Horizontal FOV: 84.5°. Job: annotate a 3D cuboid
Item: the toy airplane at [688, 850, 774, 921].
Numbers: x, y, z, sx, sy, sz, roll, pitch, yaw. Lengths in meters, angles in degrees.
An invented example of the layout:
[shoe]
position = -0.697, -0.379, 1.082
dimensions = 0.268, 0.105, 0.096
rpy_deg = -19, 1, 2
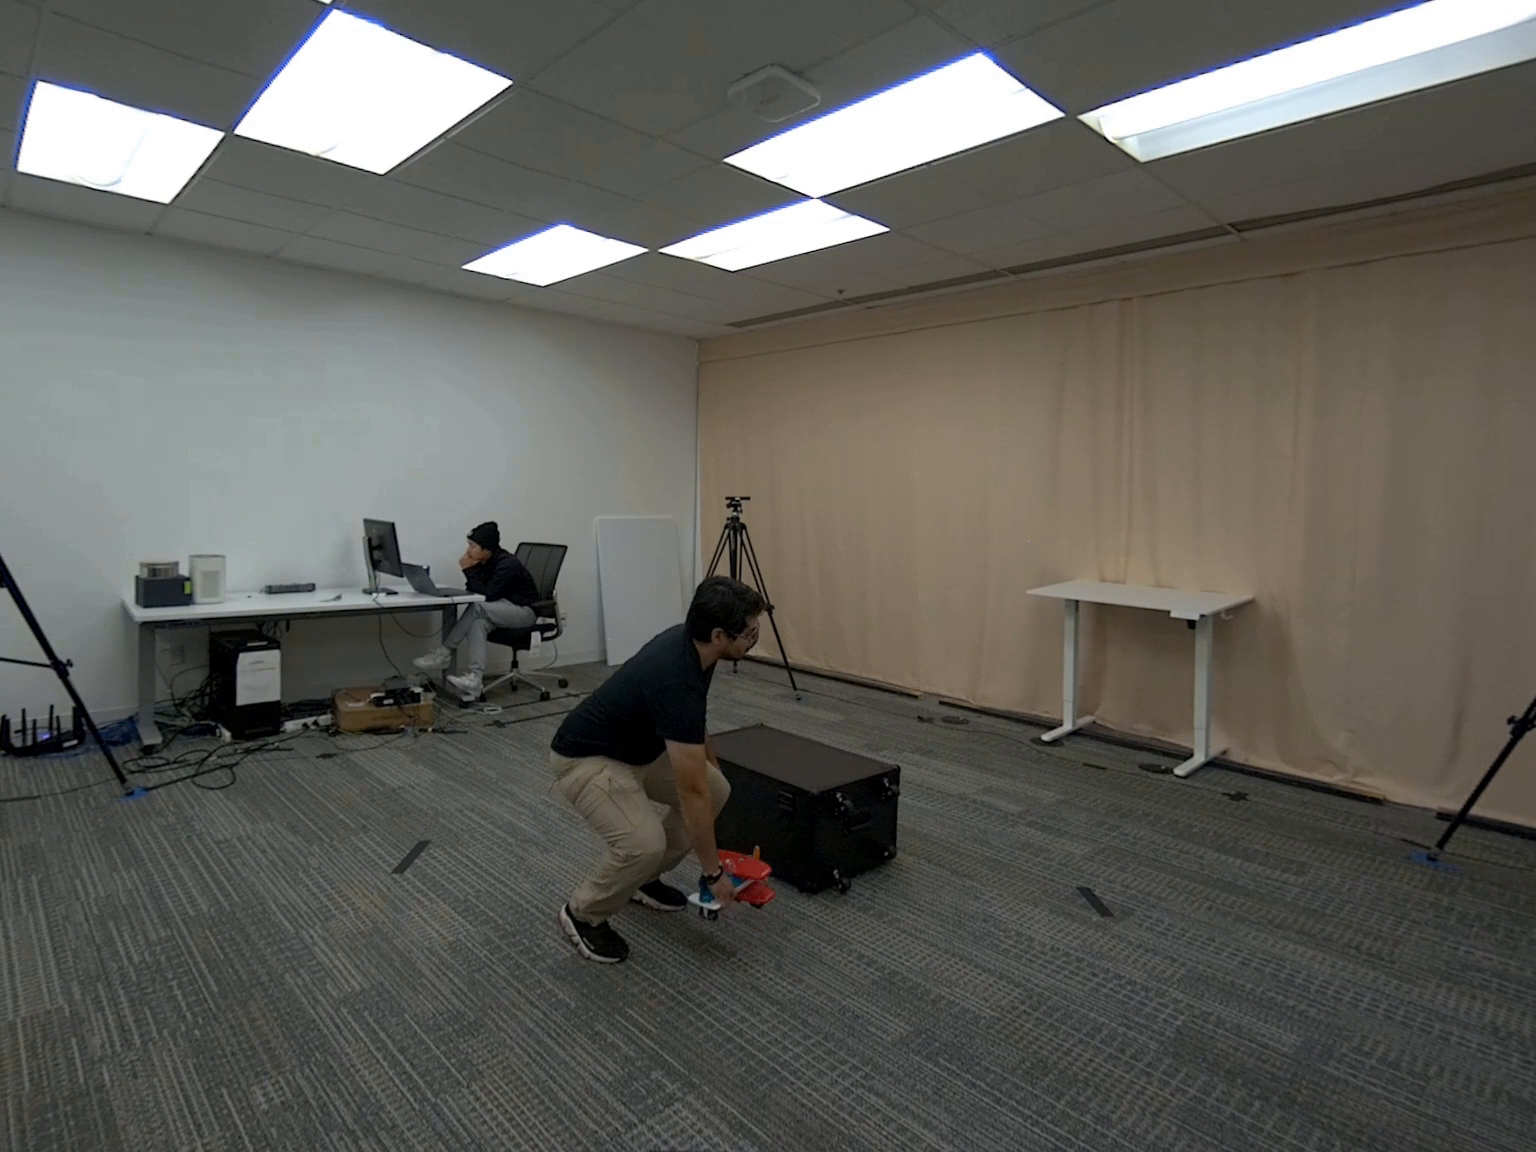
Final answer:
[toy airplane]
position = -0.110, 0.953, 2.585
dimensions = 0.254, 0.156, 0.256
rpy_deg = 0, 0, 12
